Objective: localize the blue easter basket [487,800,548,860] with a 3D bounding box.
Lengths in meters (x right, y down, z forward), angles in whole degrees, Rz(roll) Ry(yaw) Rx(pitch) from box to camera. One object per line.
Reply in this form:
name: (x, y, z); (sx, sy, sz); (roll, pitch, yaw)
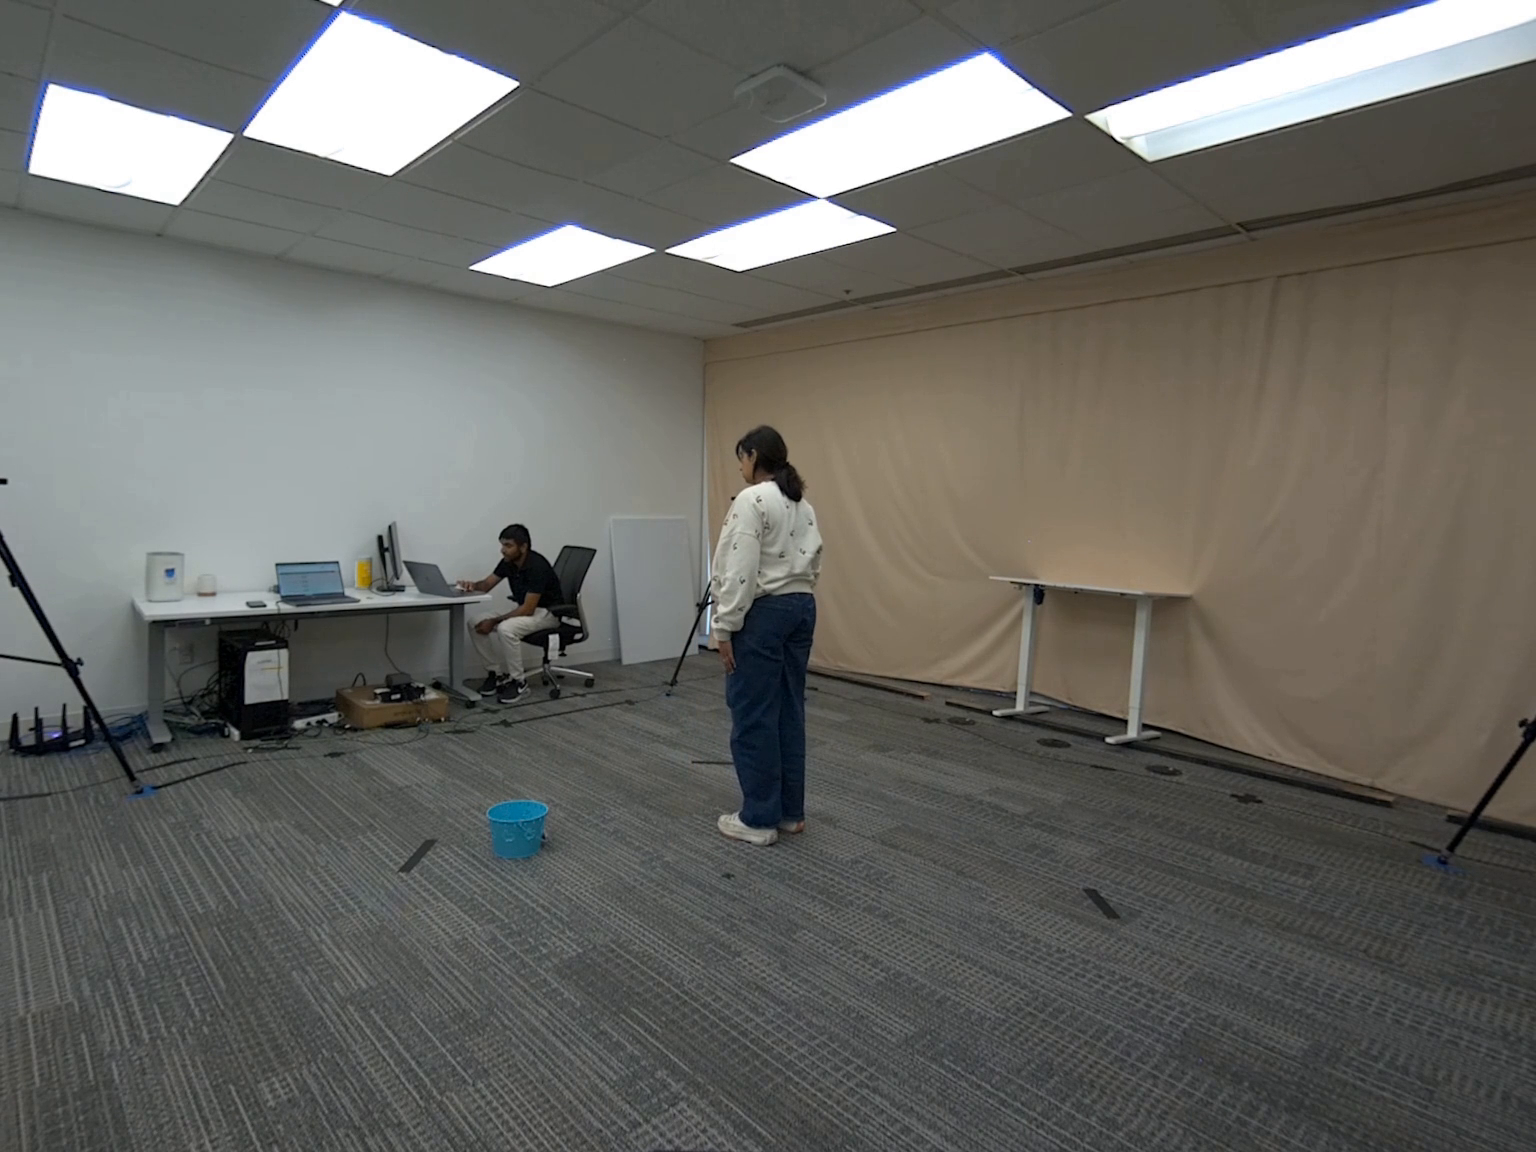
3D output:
blue easter basket: (-0.983, 0.990, 3.294); (0.243, 0.155, 0.244); (2, 5, -2)
